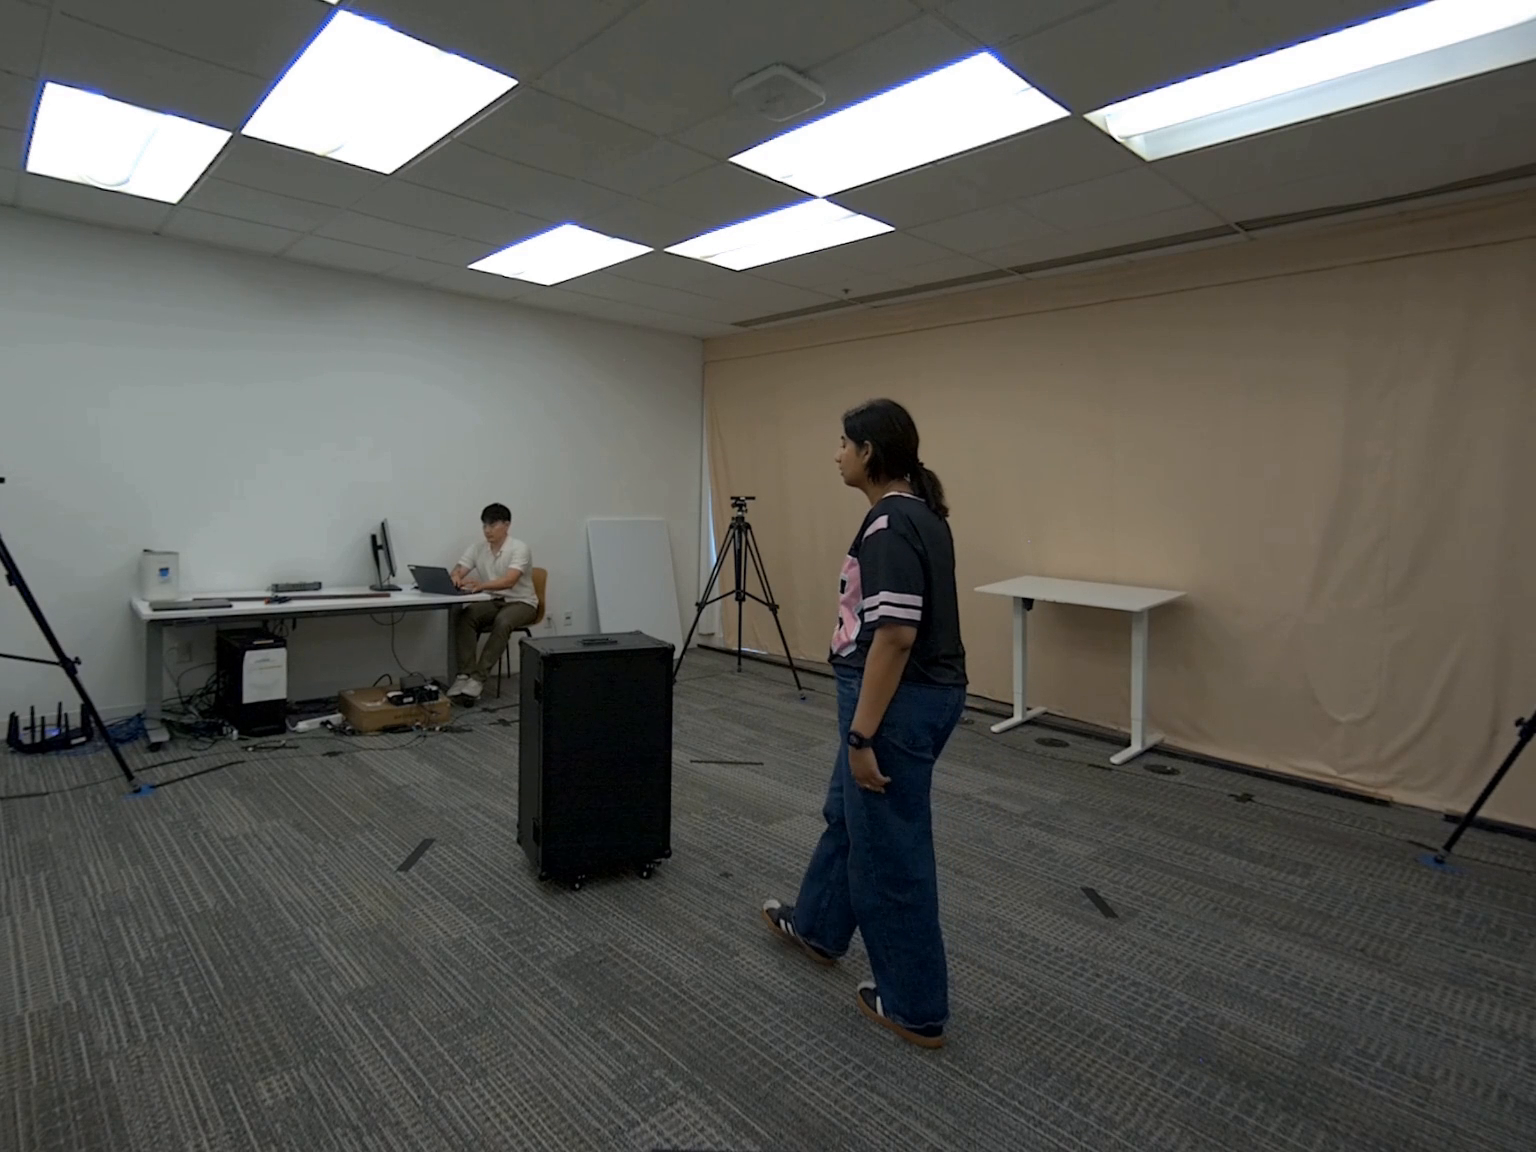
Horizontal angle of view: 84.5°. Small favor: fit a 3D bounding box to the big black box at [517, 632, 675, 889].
[{"bbox_3d":[-0.657,0.670,3.111,0.513,0.867,0.393,0,3,-29],"label":"big black box"}]
